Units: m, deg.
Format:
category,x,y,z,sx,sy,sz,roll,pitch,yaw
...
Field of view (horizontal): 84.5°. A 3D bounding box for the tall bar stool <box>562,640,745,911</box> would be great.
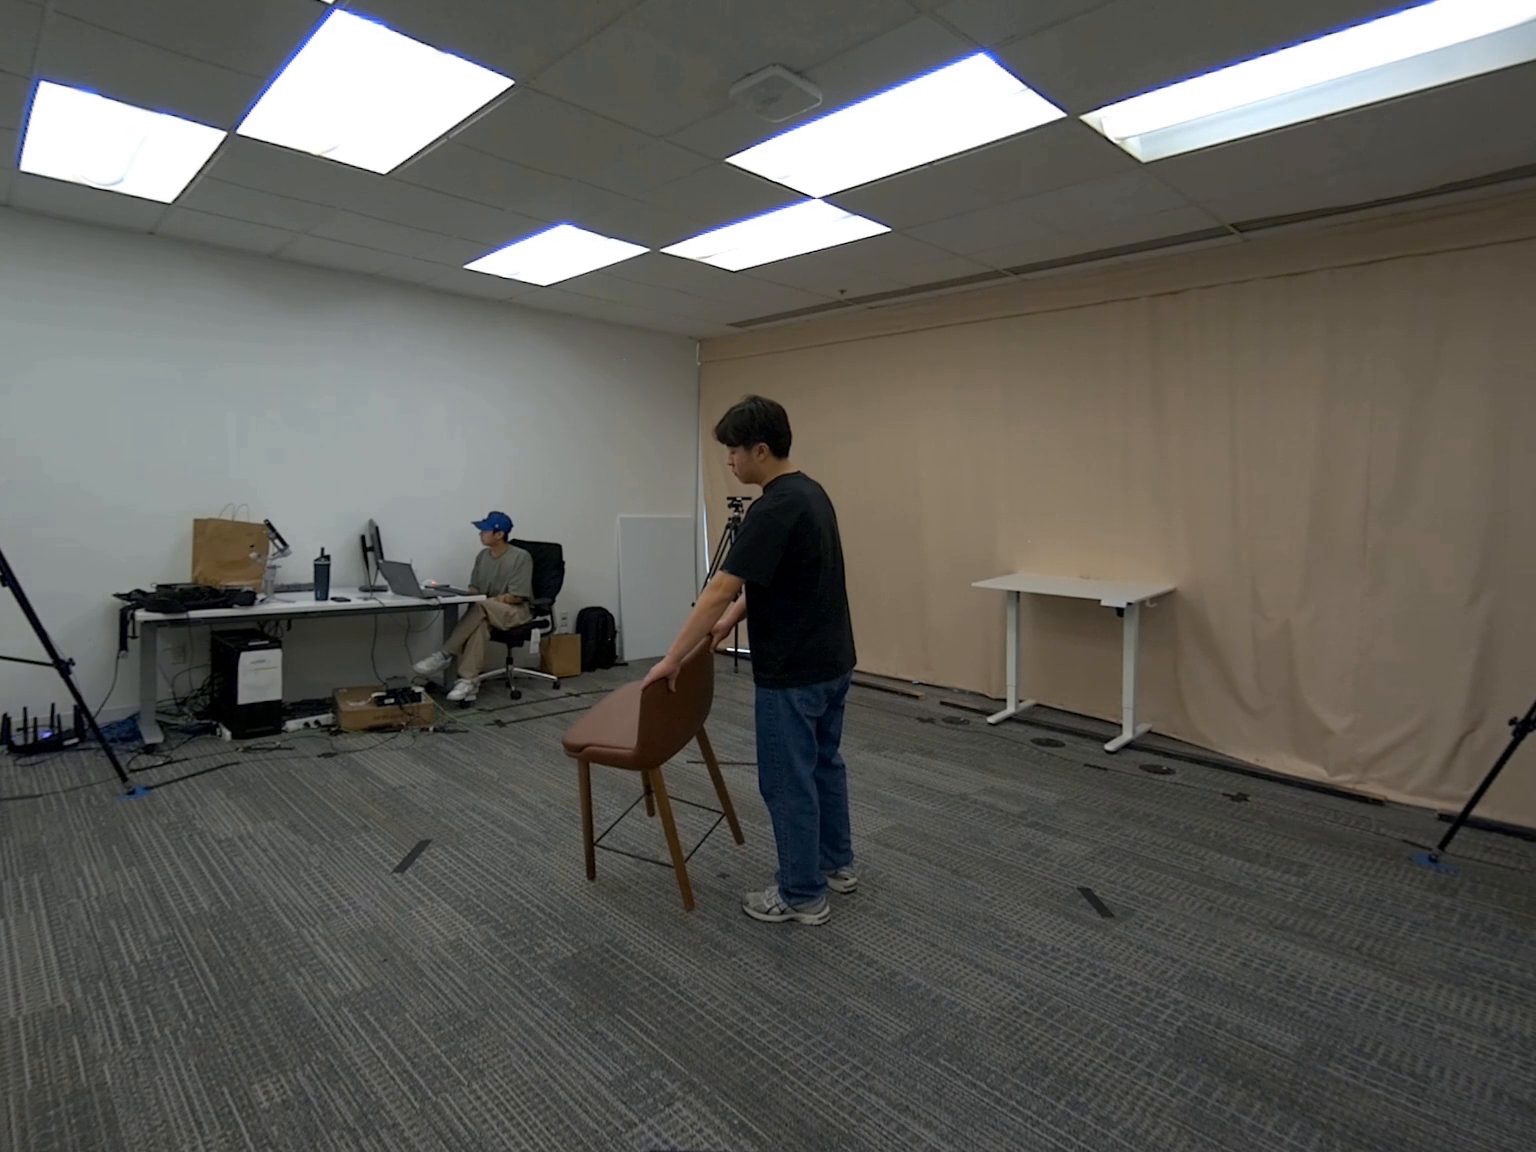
category,x,y,z,sx,sy,sz,roll,pitch,yaw
tall bar stool,-0.410,0.640,2.950,0.478,0.876,0.453,7,23,30
